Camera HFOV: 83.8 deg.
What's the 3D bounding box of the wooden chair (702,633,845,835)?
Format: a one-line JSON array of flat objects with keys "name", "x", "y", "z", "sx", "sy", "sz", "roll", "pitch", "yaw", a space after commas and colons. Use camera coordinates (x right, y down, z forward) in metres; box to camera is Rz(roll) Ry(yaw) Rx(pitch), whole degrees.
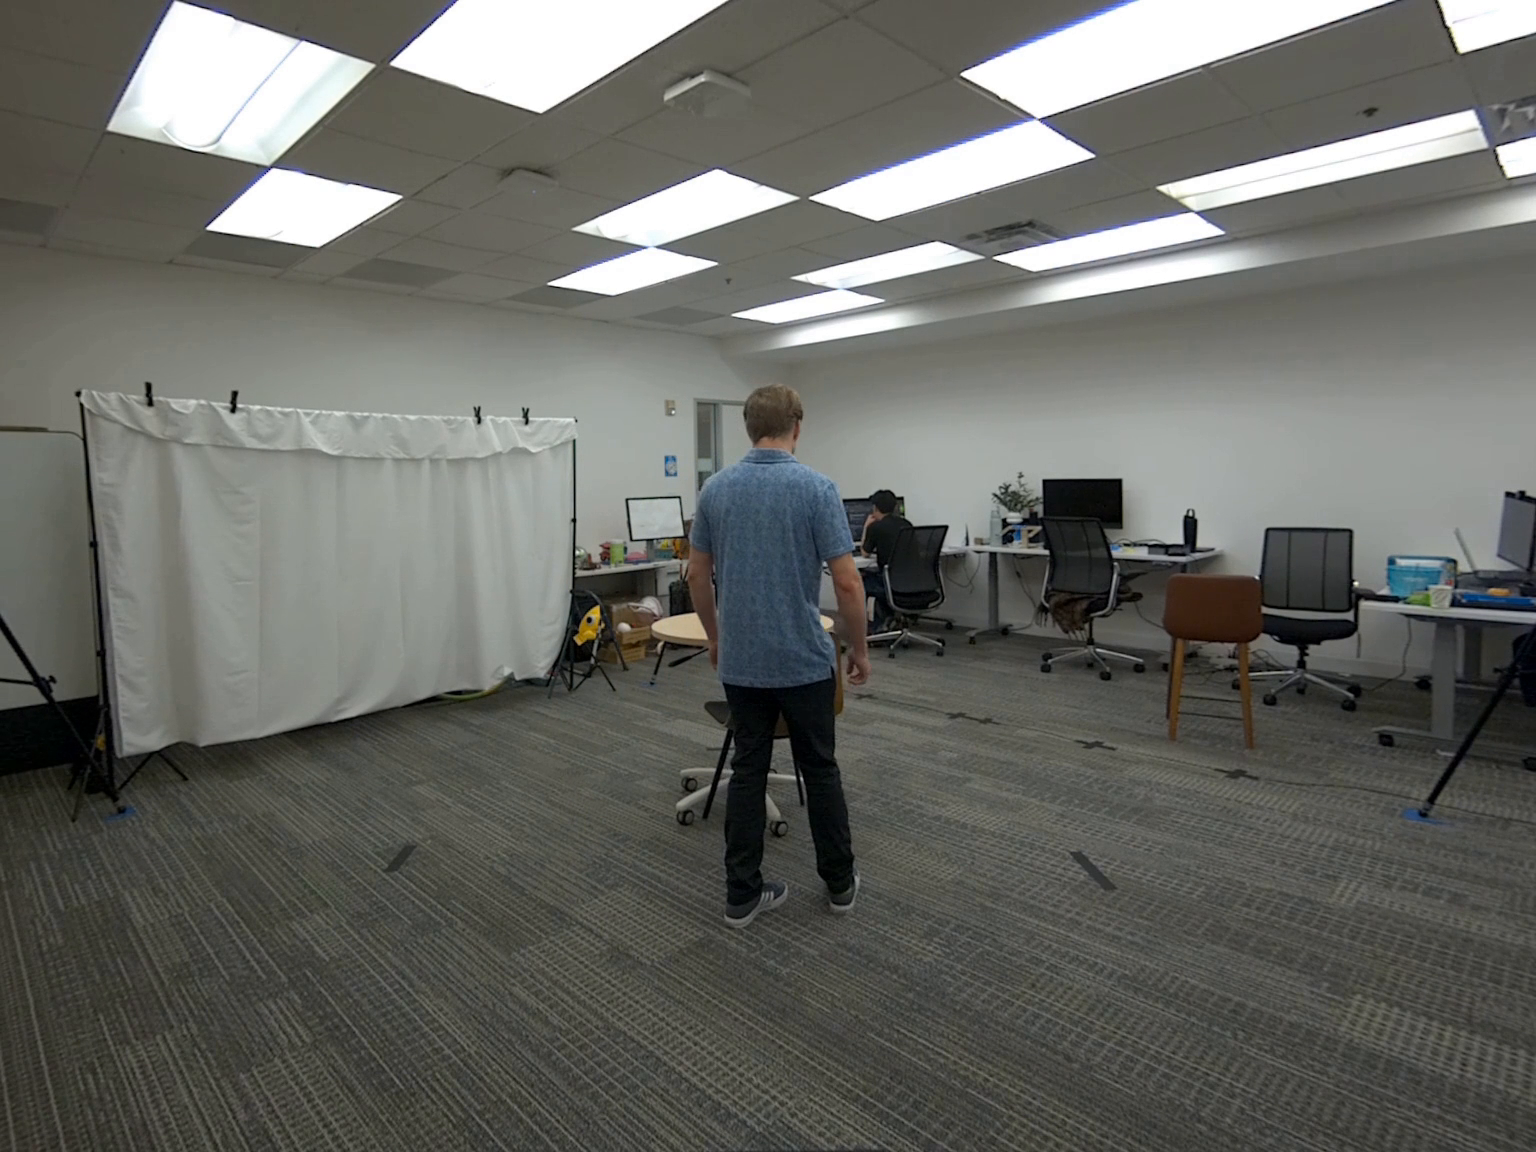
[{"name": "wooden chair", "x": 0.020, "y": 0.585, "z": 3.344, "sx": 0.470, "sy": 0.871, "sz": 0.536, "roll": -3, "pitch": 9, "yaw": -20}]
